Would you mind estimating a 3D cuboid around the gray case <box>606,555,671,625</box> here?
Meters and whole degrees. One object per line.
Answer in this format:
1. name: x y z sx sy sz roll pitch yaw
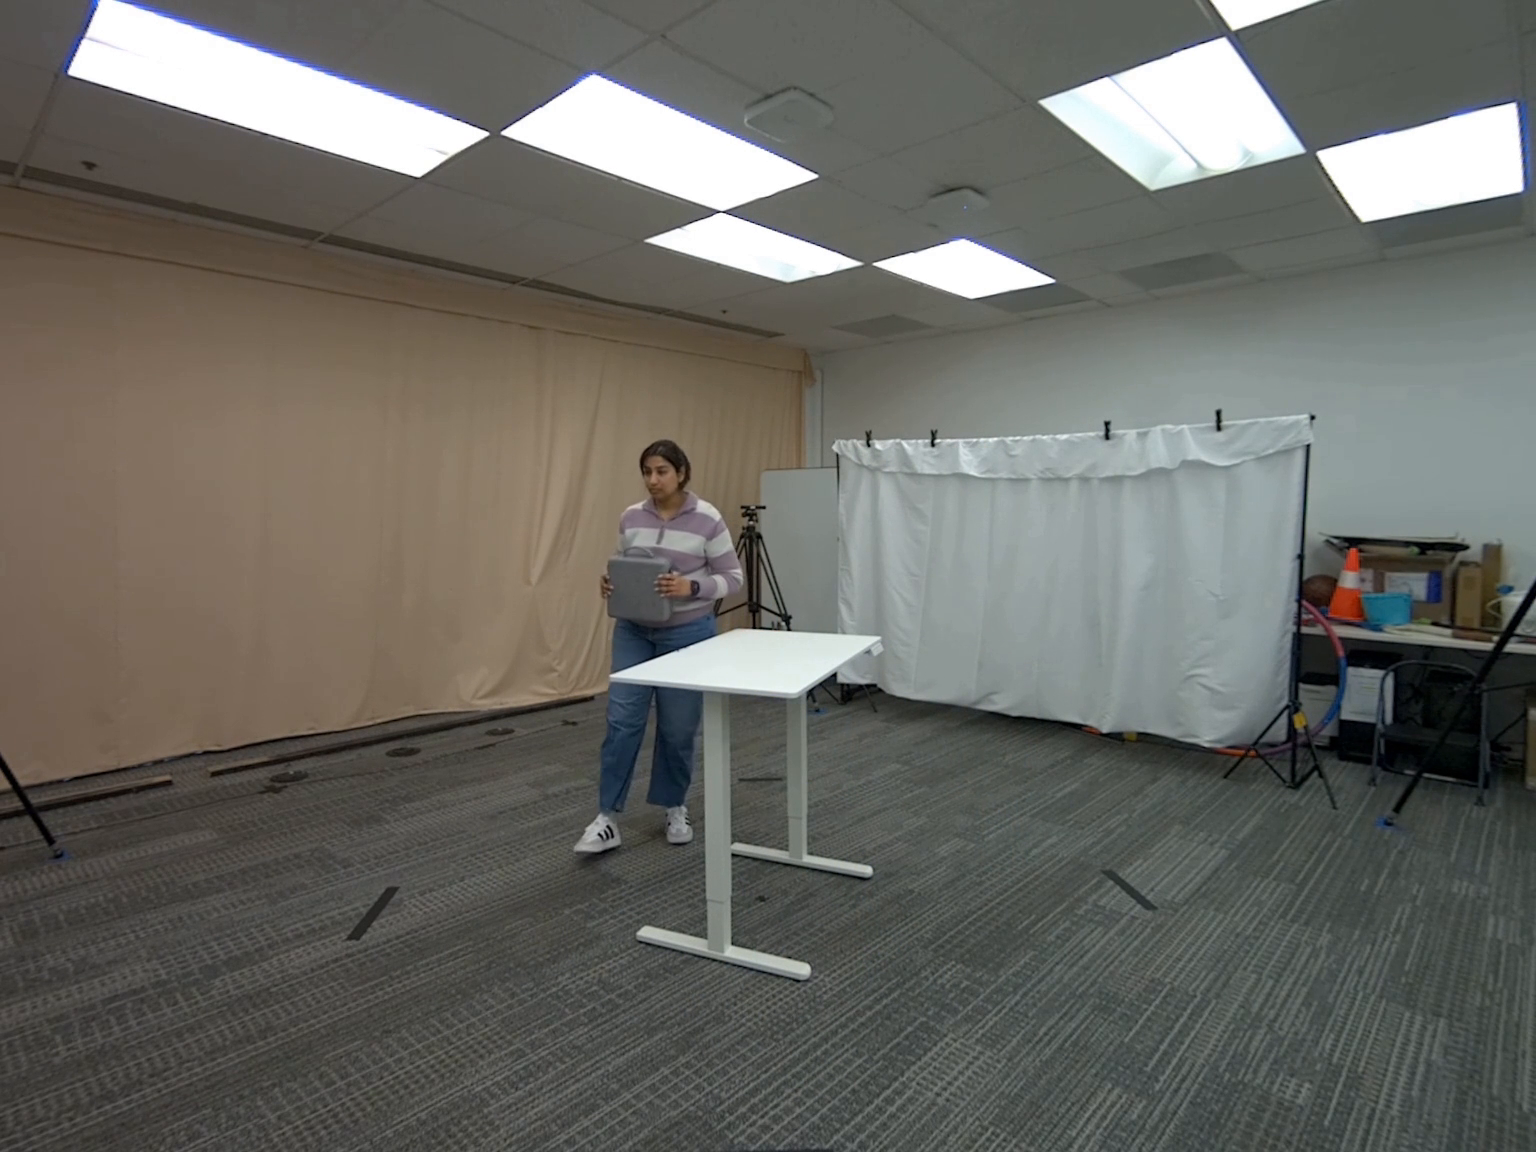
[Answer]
1. gray case: -0.503 0.046 3.303 0.261 0.258 0.103 3 14 14
